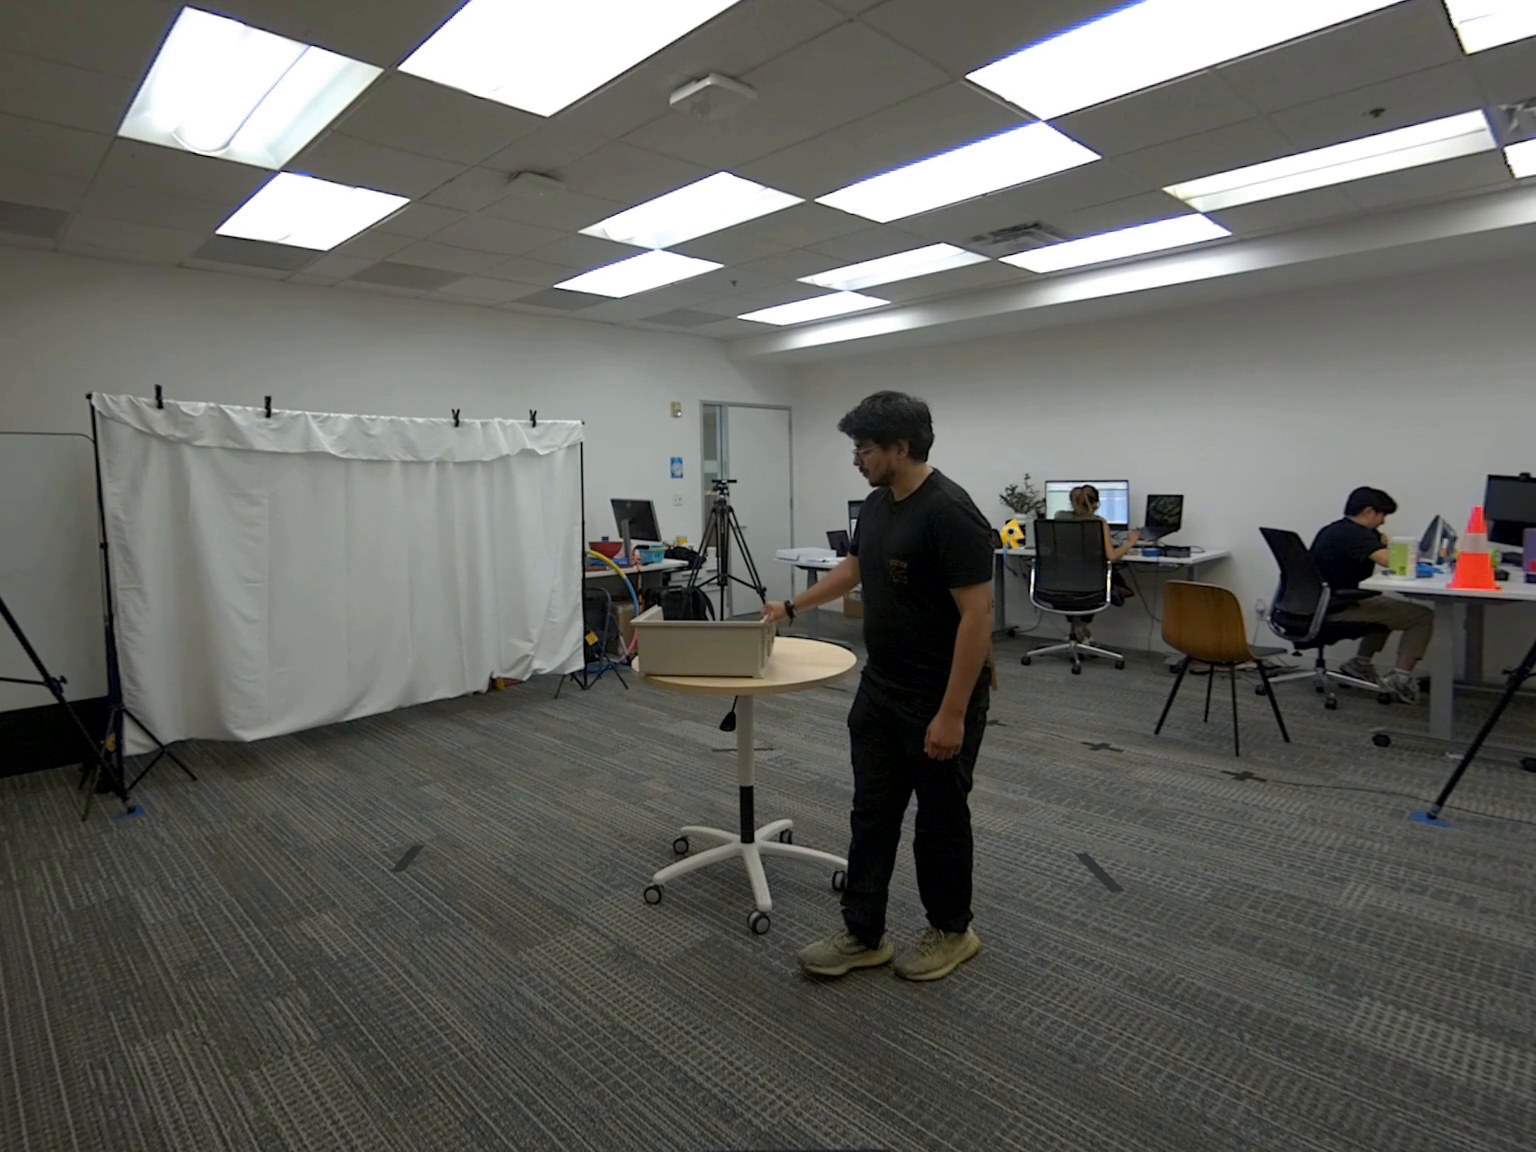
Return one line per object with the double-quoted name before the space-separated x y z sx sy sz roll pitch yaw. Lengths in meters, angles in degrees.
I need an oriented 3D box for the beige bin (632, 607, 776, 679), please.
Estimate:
"beige bin" -0.199 0.202 2.845 0.426 0.187 0.376 1 9 9
